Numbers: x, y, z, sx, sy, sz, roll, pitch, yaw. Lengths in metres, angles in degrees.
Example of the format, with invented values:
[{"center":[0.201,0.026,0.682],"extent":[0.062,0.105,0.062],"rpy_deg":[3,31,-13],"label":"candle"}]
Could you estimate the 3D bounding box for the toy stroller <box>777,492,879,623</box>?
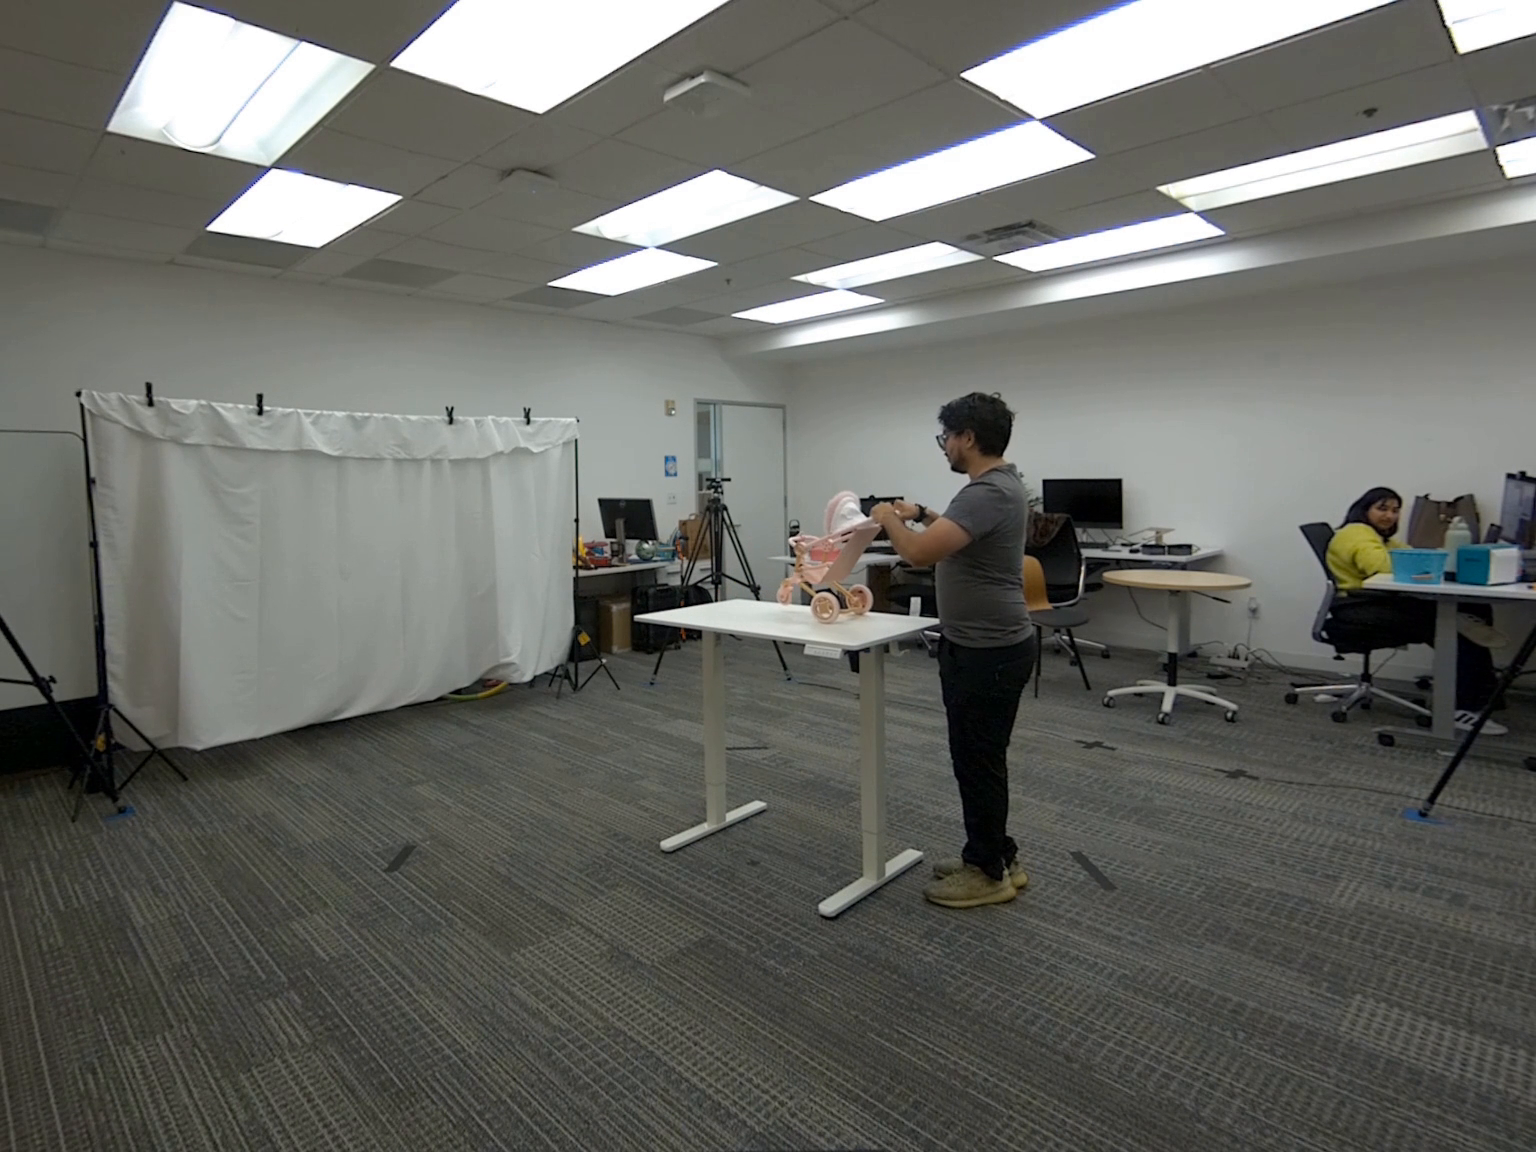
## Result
[{"center":[0.240,-0.075,3.093],"extent":[0.354,0.529,0.274],"rpy_deg":[32,23,35],"label":"toy stroller"}]
